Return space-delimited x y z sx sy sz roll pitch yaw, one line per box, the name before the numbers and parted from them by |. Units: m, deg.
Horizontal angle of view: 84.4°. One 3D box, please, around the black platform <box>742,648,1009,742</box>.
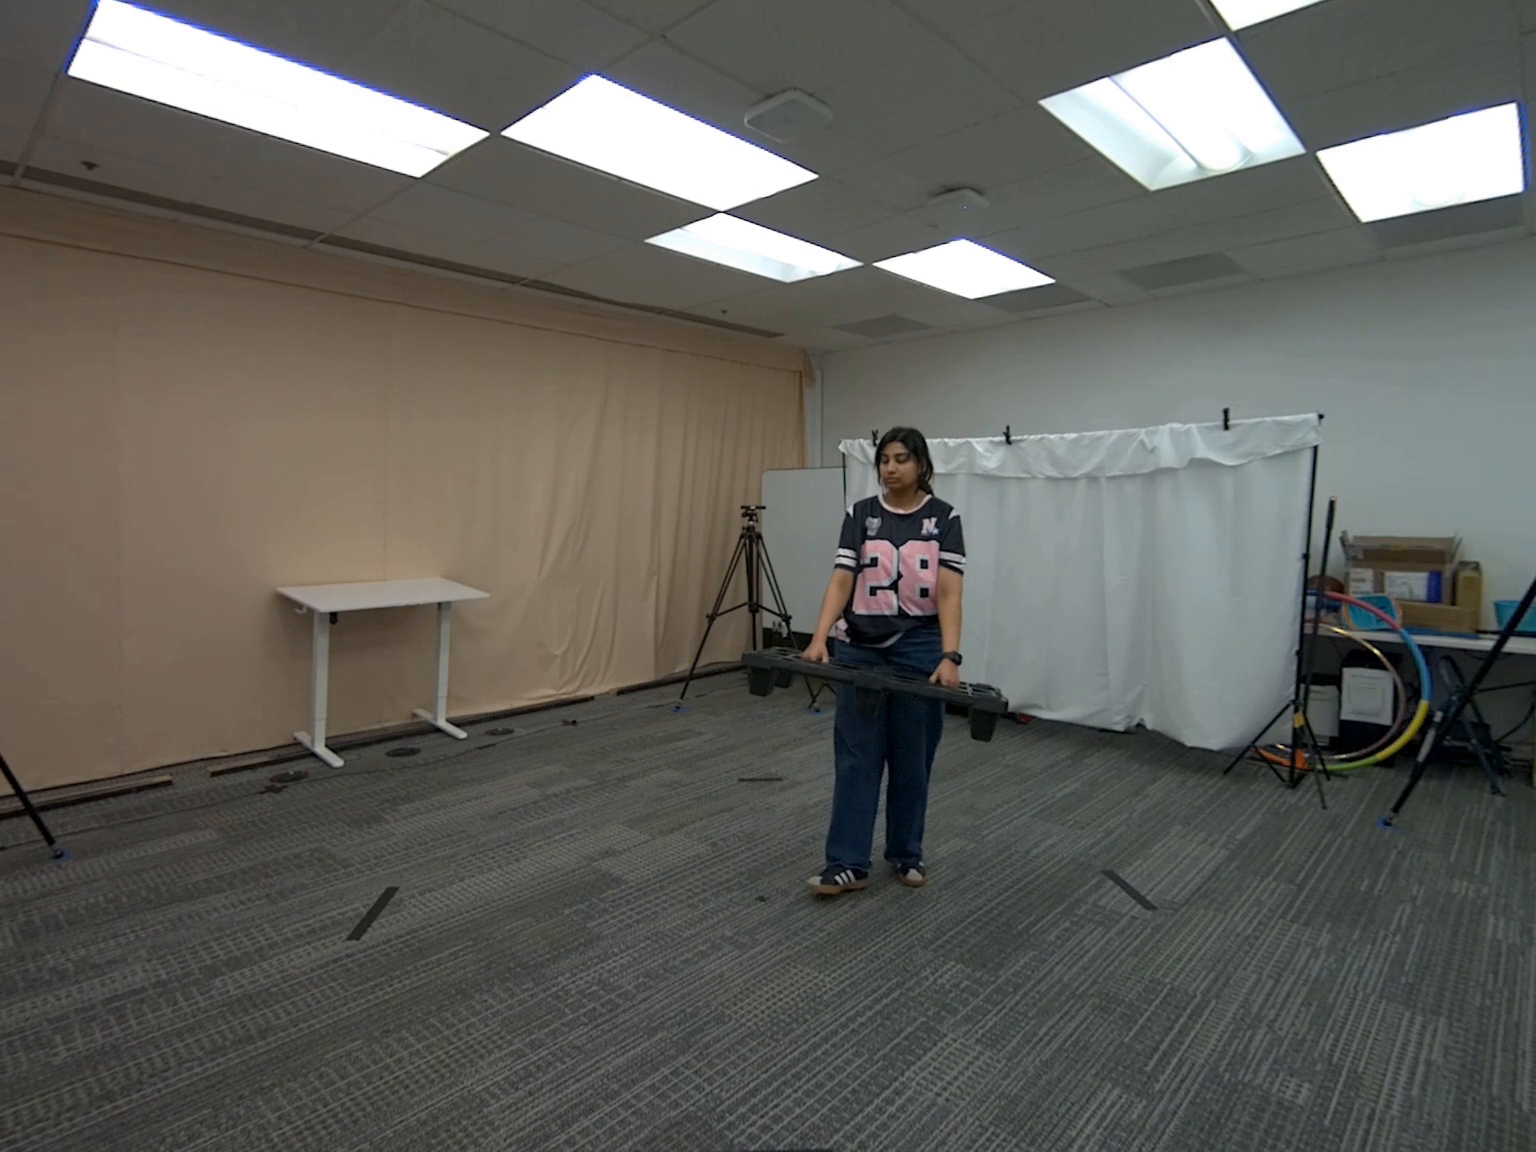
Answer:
black platform | 0.358 0.374 2.776 0.820 0.143 0.594 9 -1 15
